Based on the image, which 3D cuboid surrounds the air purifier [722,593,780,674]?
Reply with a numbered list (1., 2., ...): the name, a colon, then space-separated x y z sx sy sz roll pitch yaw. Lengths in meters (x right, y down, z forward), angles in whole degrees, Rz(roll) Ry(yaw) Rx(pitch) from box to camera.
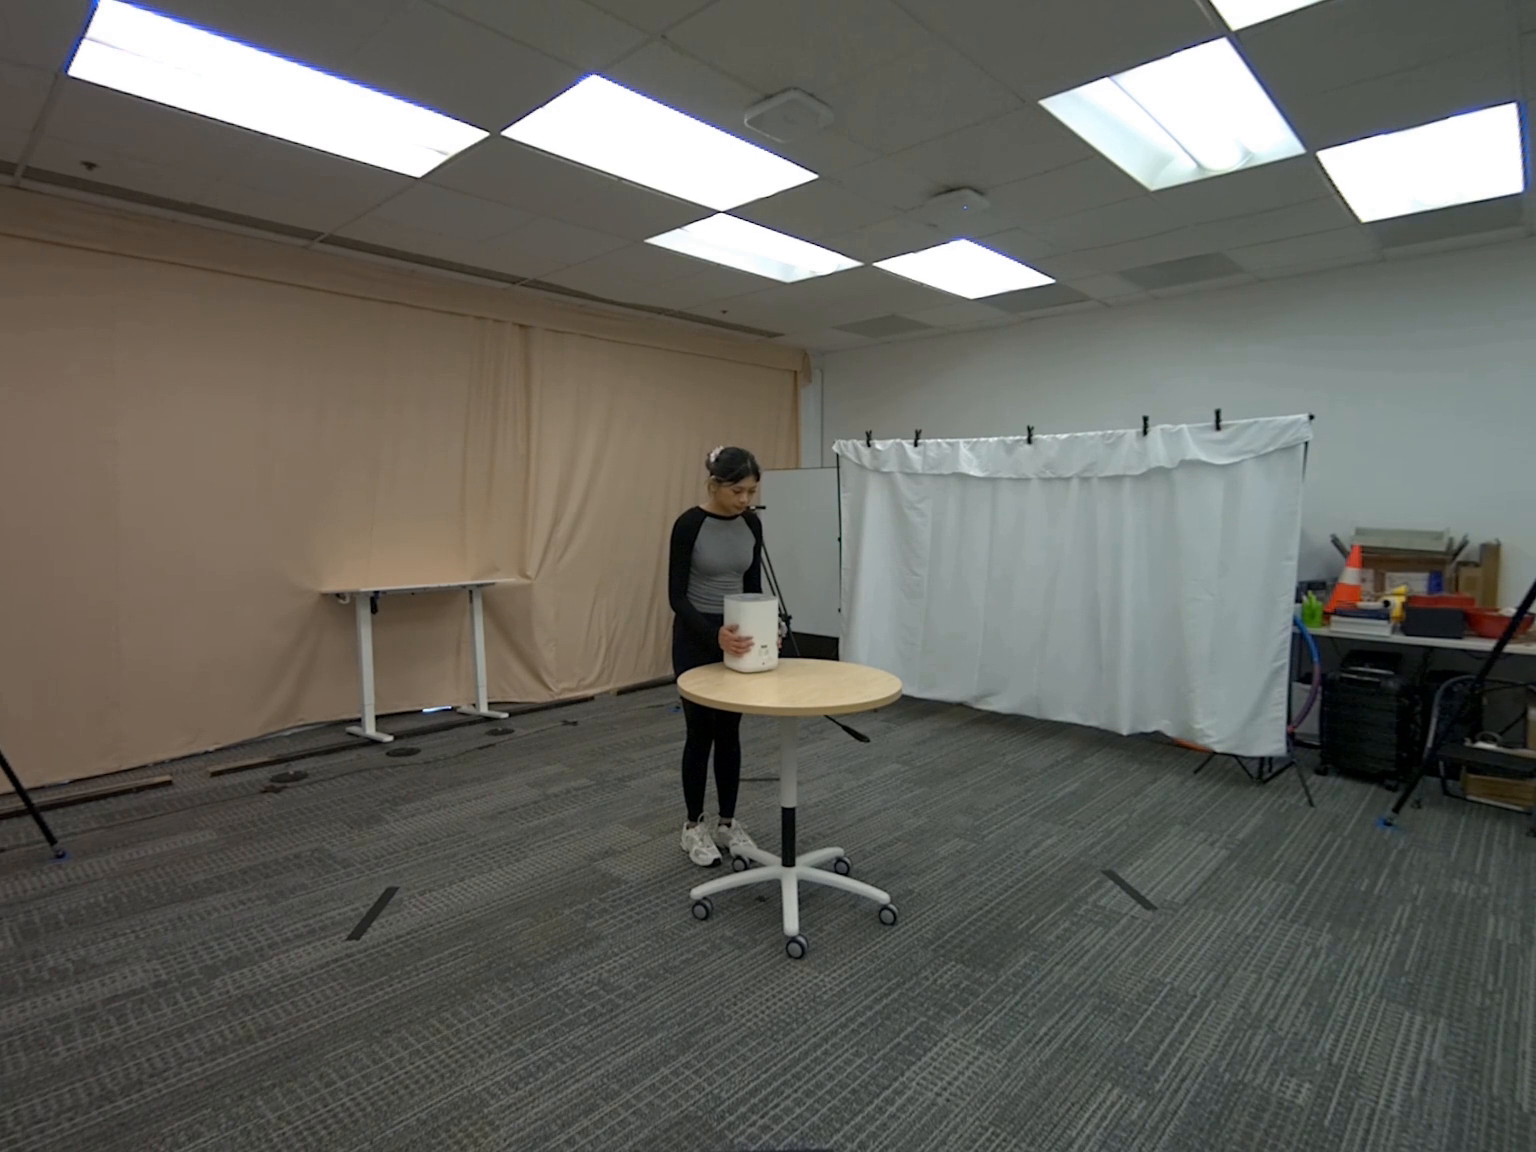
1. air purifier: -0.062 0.200 3.068 0.167 0.264 0.176 -3 6 -28
